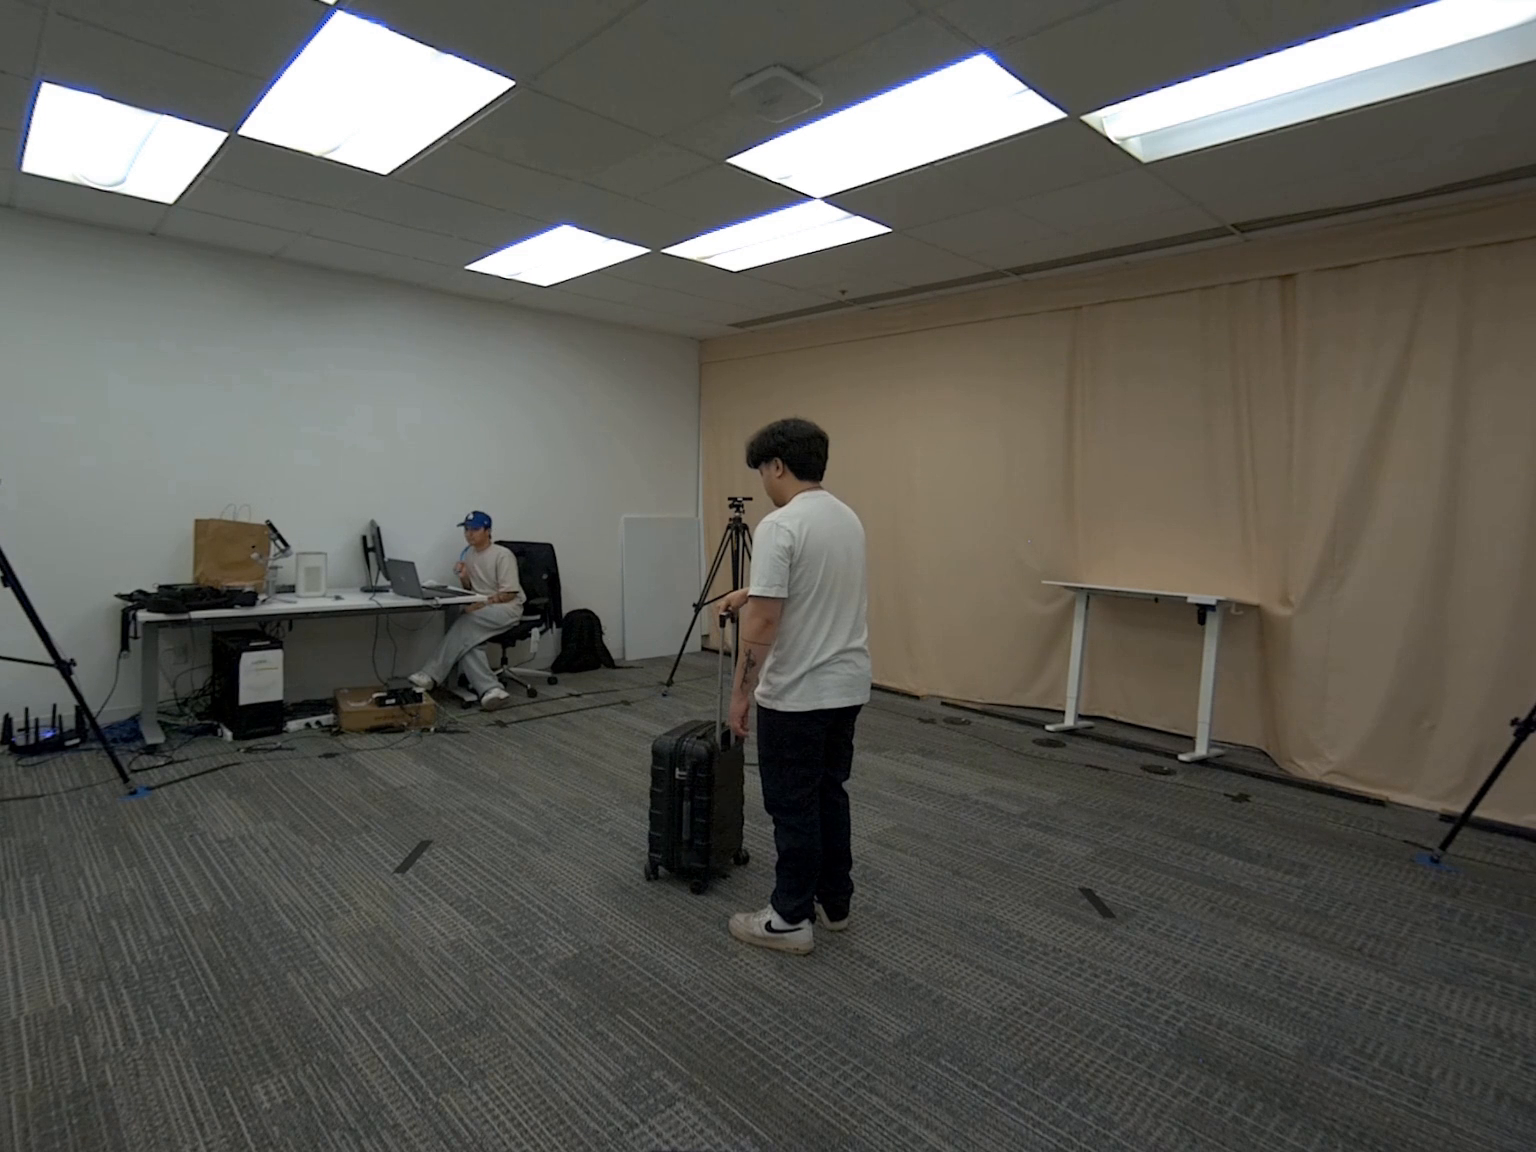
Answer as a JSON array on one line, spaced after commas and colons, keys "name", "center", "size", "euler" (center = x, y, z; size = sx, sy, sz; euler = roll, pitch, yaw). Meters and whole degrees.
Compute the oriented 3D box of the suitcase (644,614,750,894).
[{"name": "suitcase", "center": [-0.267, 0.631, 3.115], "size": [0.262, 0.977, 0.377], "euler": [2, 3, 25]}]
